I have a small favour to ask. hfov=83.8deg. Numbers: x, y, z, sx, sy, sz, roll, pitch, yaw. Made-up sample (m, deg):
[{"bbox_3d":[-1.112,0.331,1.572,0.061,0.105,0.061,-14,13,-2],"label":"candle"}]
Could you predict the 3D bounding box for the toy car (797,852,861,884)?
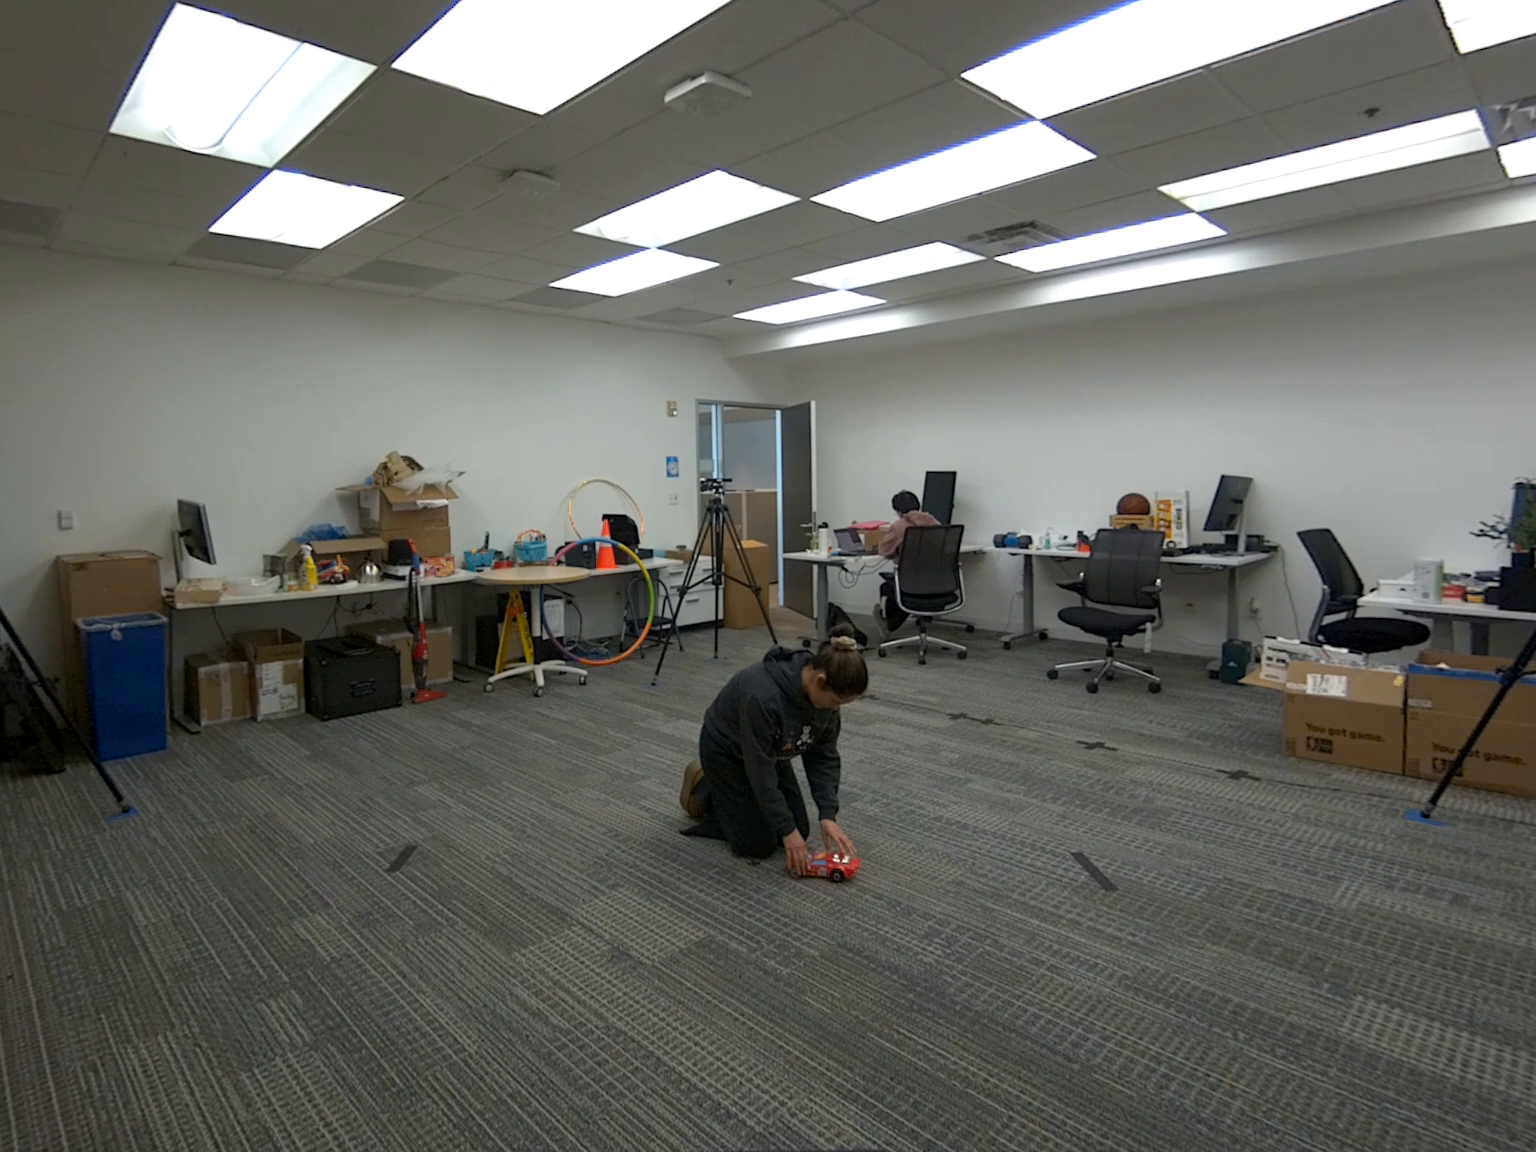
[{"bbox_3d":[0.205,1.018,3.000,0.257,0.083,0.129,-12,2,15],"label":"toy car"}]
